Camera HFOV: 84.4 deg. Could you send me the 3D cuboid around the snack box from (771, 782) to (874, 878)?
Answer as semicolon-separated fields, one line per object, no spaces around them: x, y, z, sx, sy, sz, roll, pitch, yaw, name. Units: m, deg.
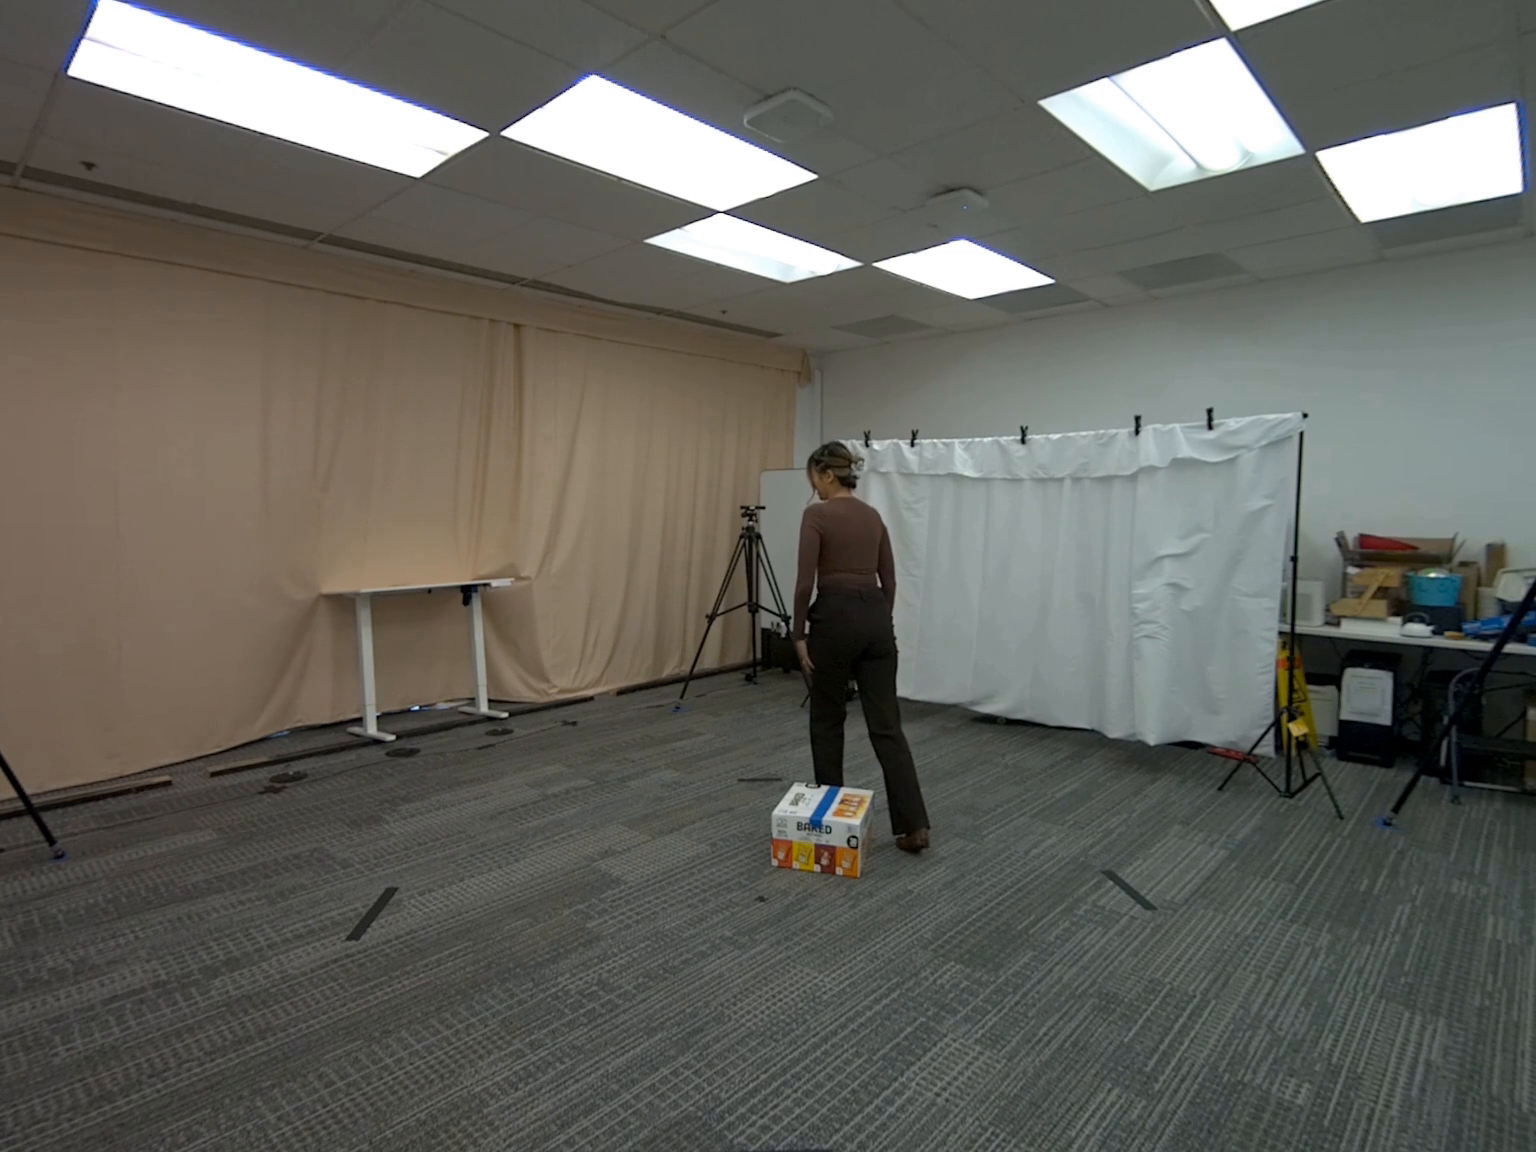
0.231;1.007;3.381;0.347;0.205;0.398;1;4;17;snack box
